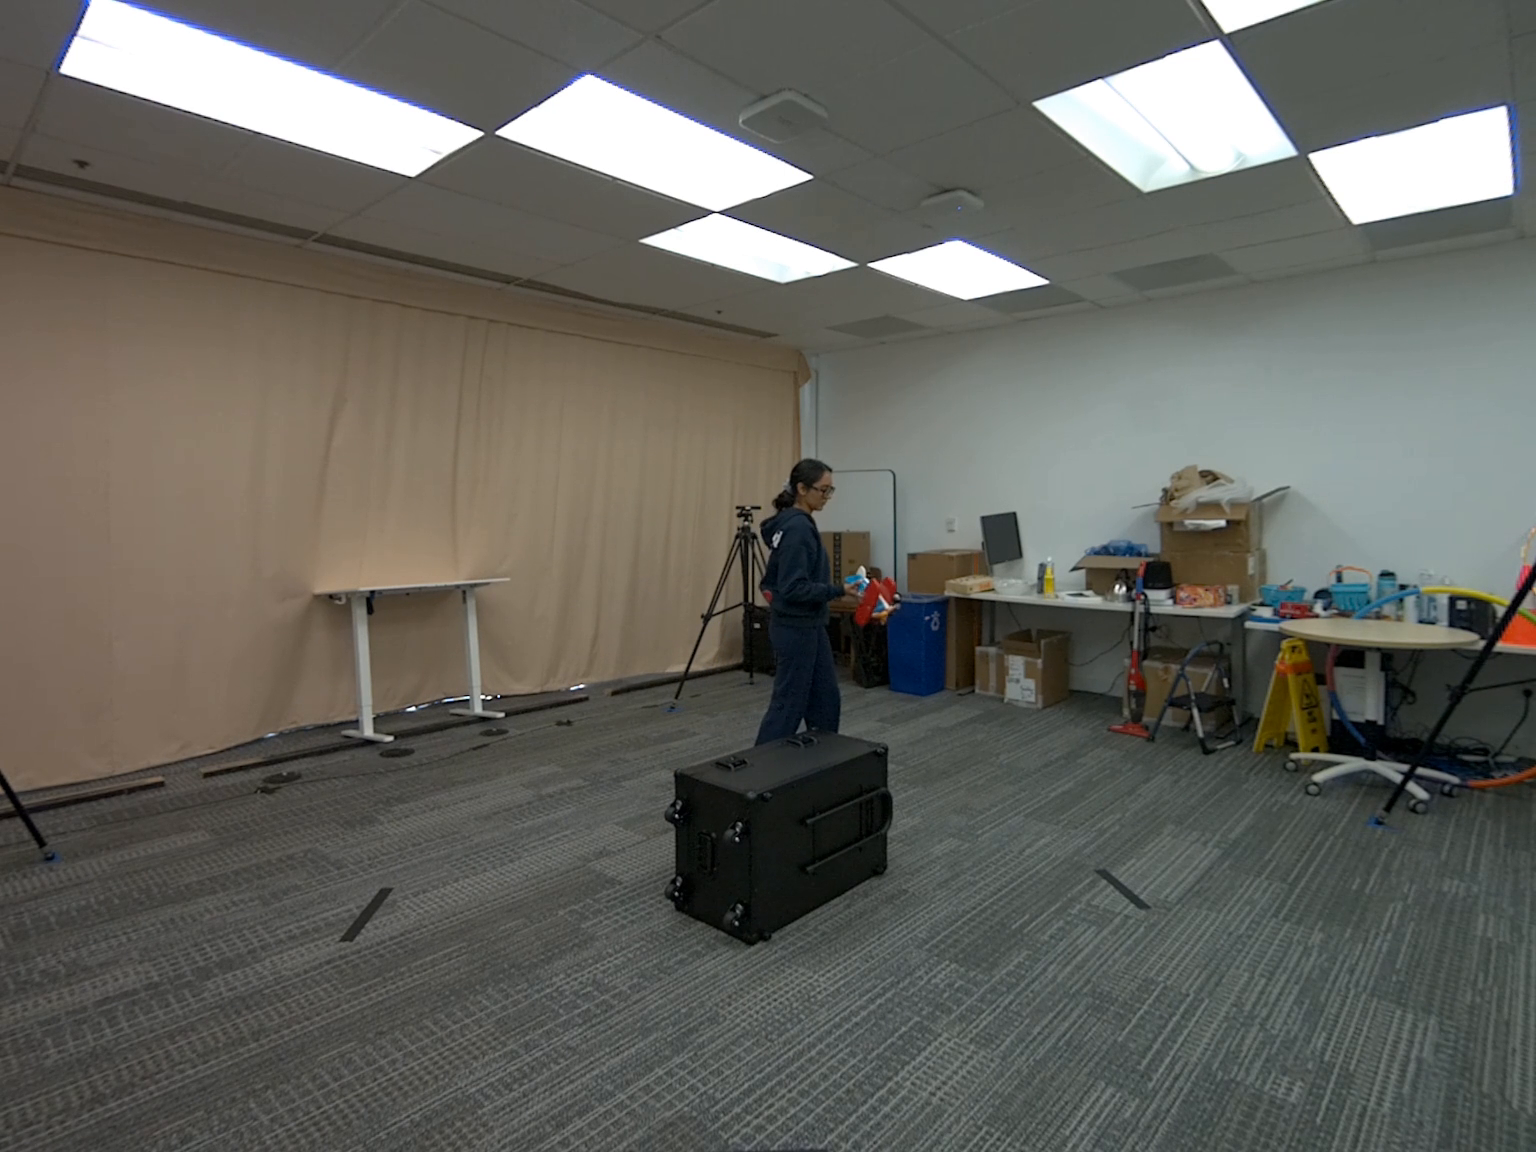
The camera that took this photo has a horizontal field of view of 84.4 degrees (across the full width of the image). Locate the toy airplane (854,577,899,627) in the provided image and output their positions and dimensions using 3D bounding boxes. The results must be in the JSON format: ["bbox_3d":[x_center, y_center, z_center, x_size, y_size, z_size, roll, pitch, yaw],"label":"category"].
[{"bbox_3d":[0.459,0.095,3.715,0.153,0.247,0.269,-20,25,-34],"label":"toy airplane"}]
